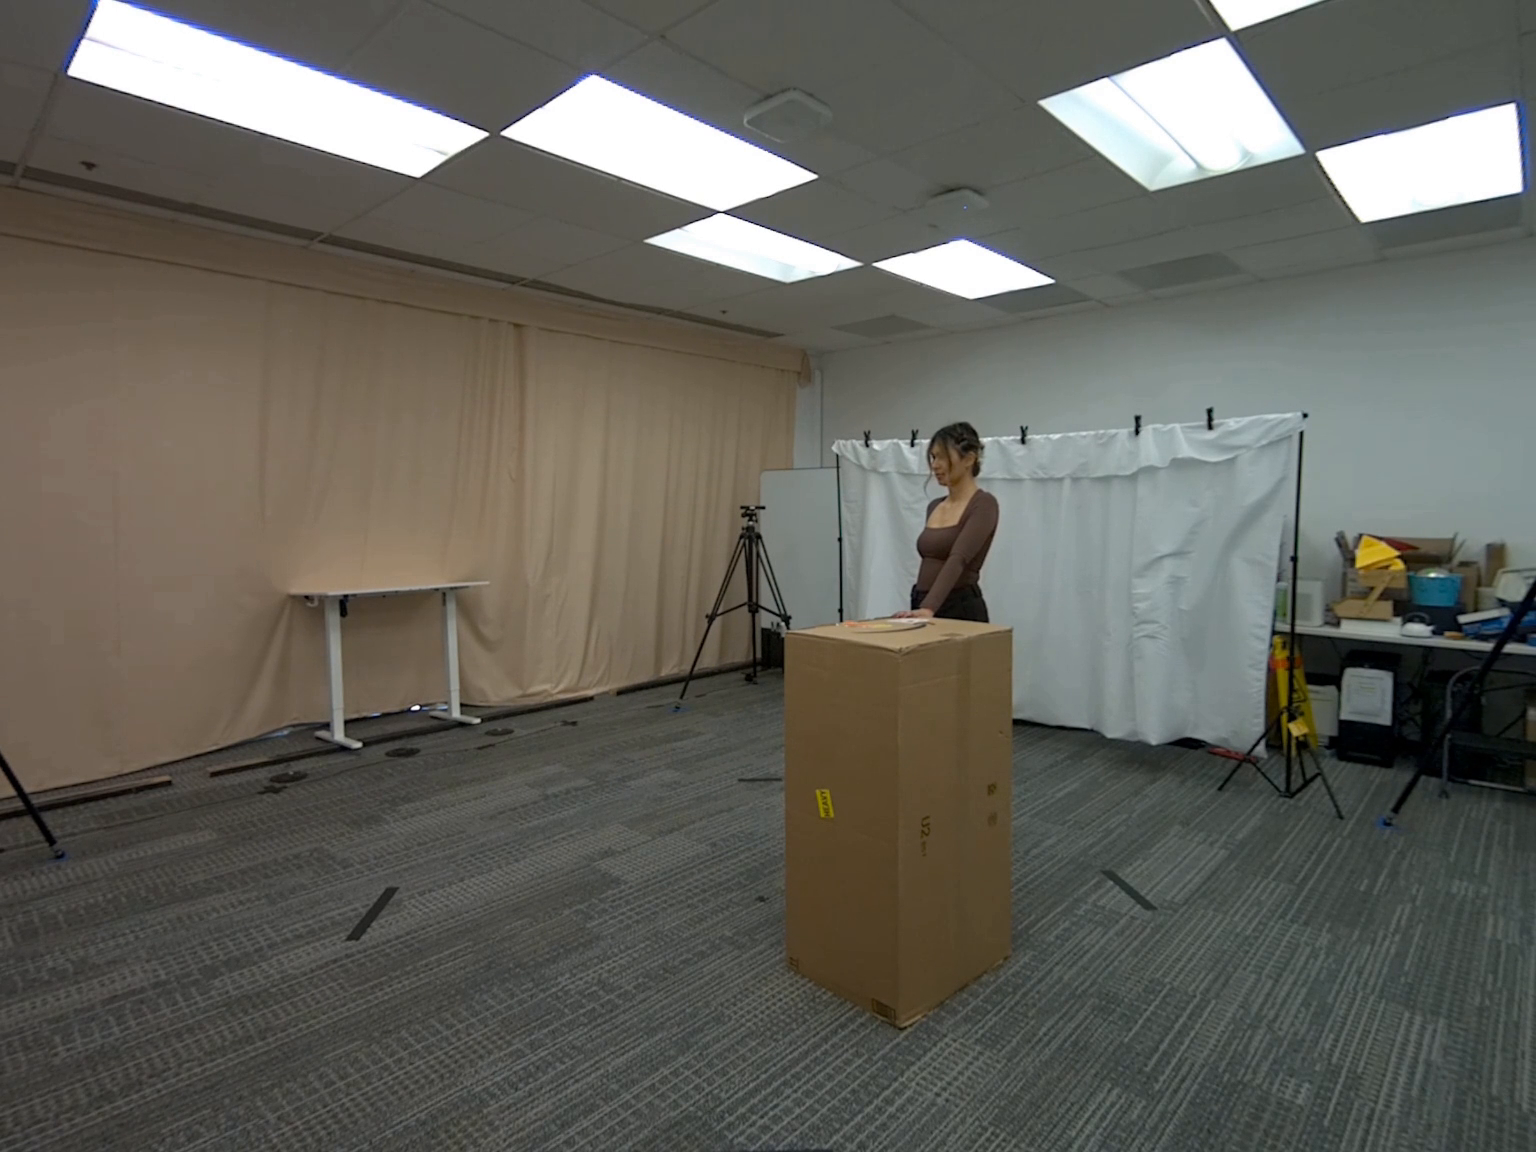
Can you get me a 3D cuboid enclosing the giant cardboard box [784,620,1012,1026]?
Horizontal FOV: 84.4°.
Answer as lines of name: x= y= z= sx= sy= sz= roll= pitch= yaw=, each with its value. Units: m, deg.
giant cardboard box: x=0.404 y=0.671 z=2.553 sx=0.566 sy=1.025 sz=0.461 roll=-3 pitch=3 yaw=-41
